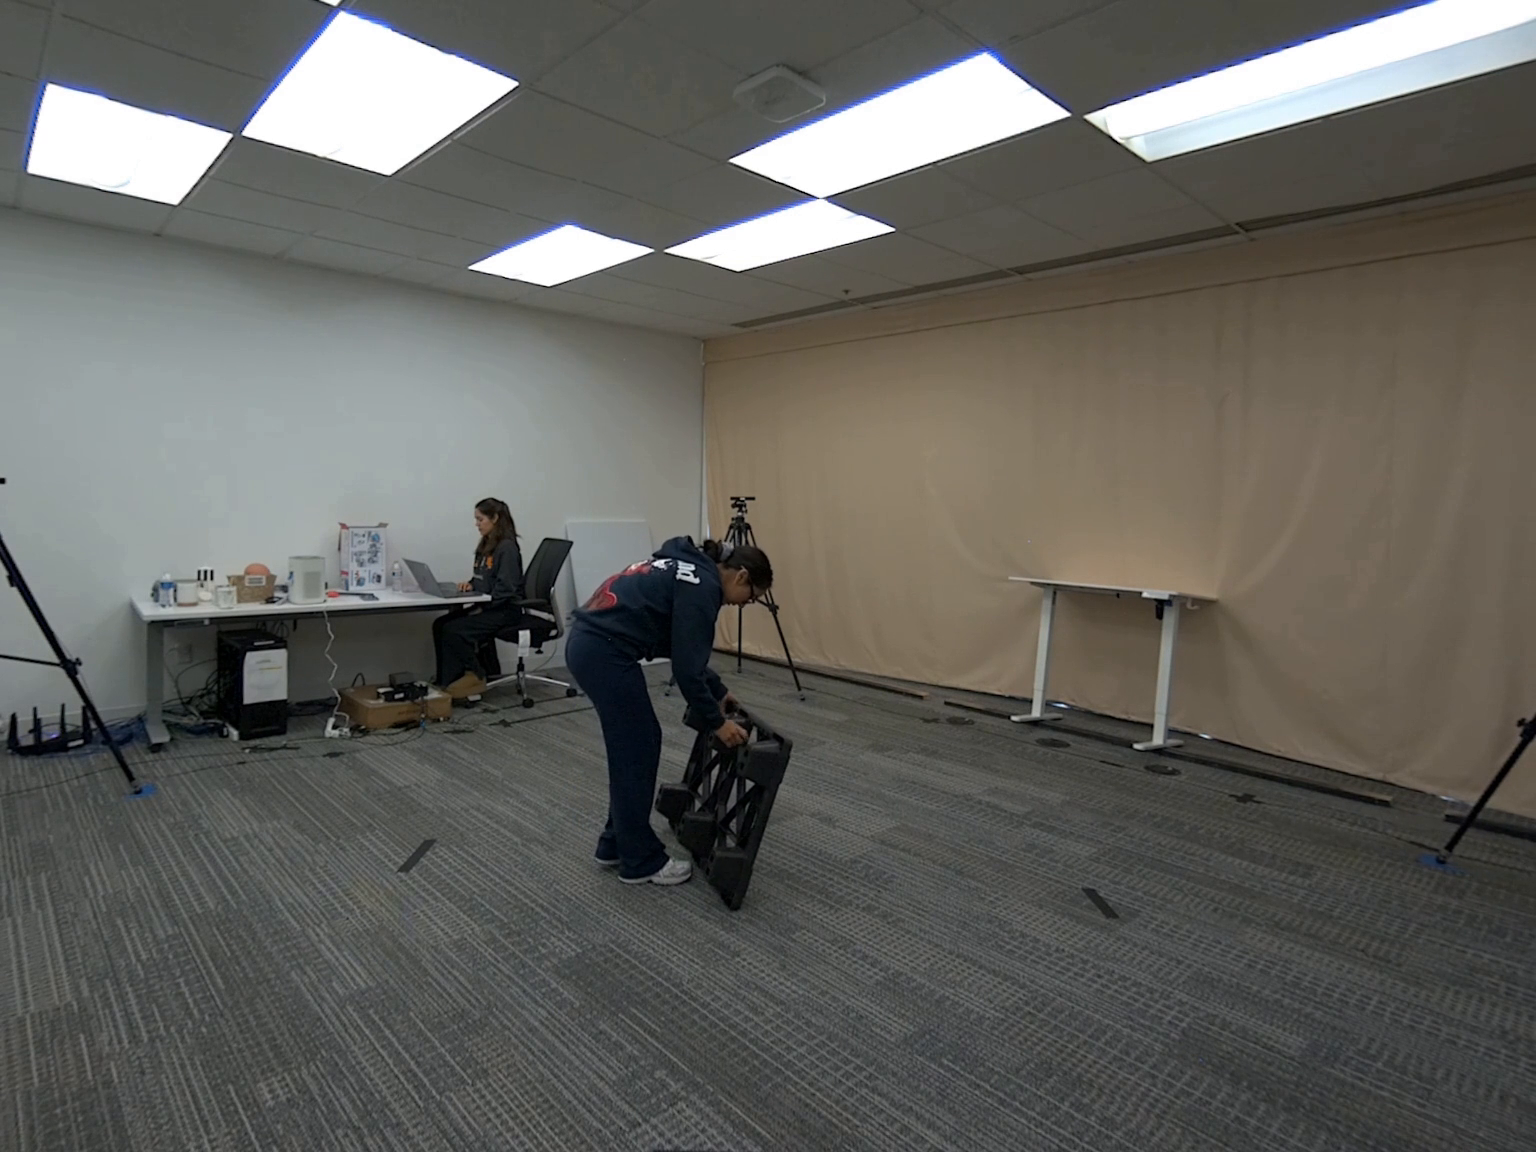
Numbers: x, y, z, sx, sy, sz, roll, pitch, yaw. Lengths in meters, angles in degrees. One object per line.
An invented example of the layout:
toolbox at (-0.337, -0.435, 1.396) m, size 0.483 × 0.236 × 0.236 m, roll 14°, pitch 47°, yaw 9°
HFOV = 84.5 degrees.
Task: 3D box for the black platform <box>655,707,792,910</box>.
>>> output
black platform at (-0.213, 0.795, 3.204) m, size 0.140 × 0.606 × 0.820 m, roll 20°, pitch -4°, yaw -22°
